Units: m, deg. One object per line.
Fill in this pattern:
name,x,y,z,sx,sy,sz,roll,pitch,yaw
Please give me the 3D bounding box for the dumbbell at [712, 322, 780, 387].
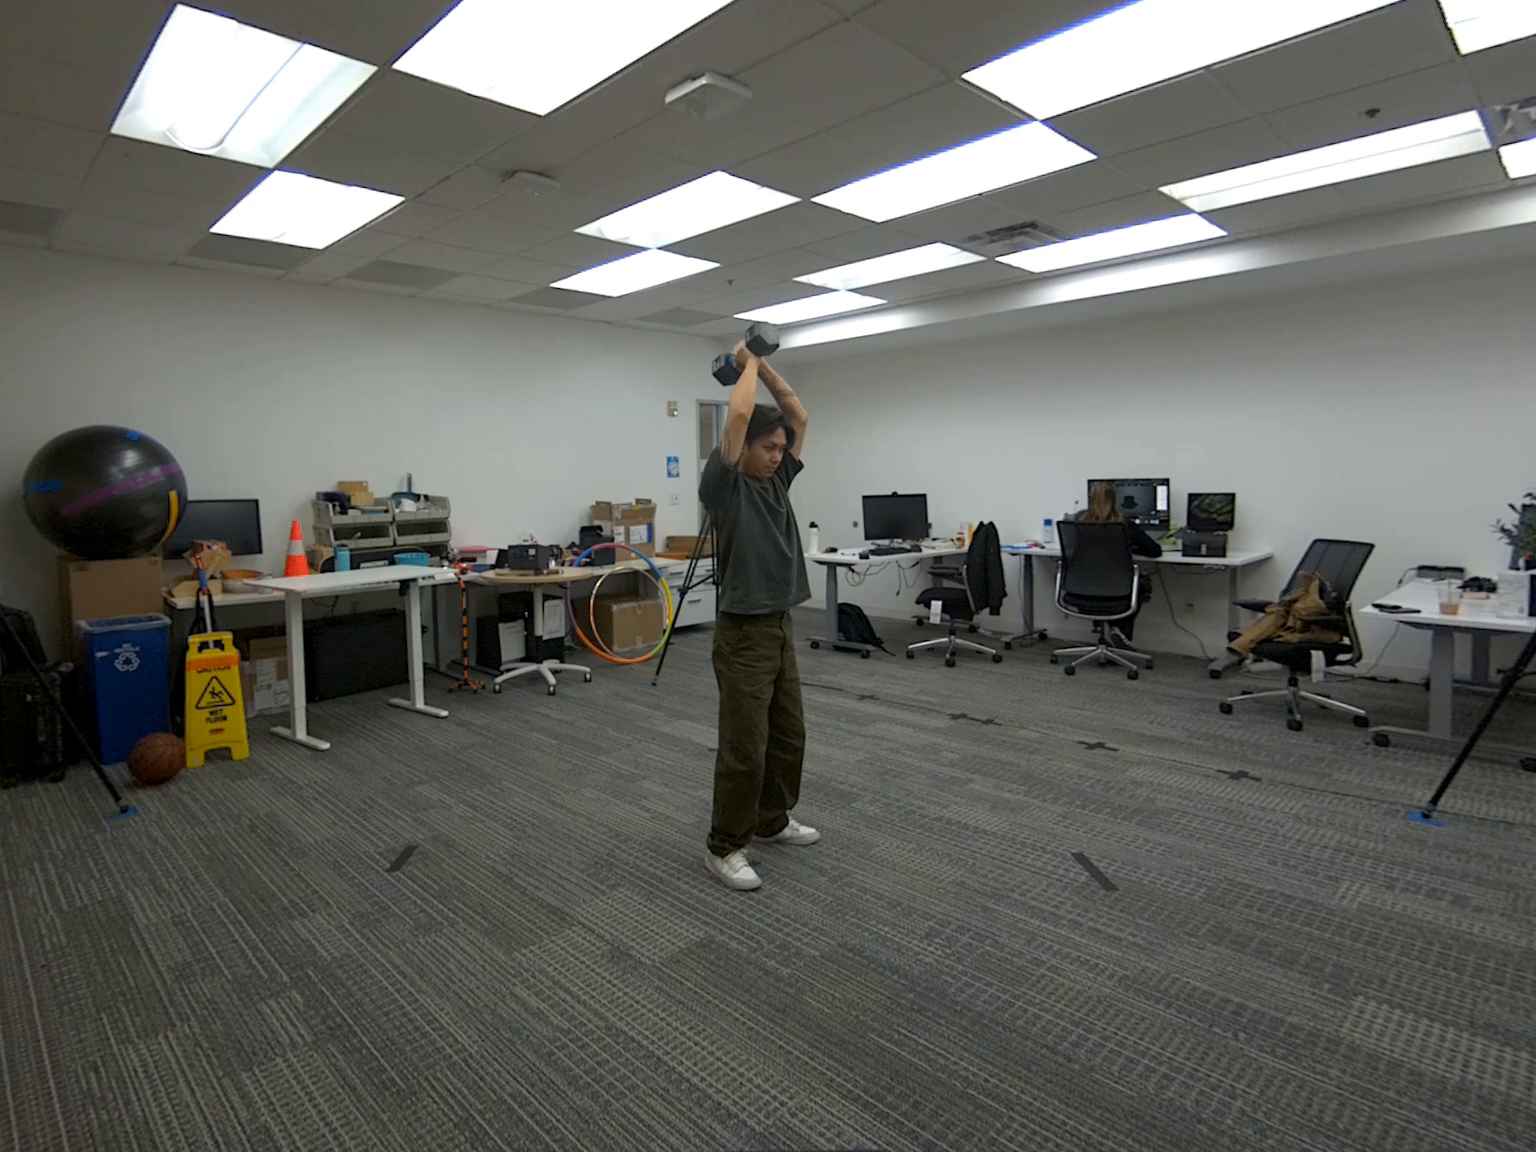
dumbbell,-0.076,-0.804,3.091,0.105,0.125,0.297,20,-30,-32
